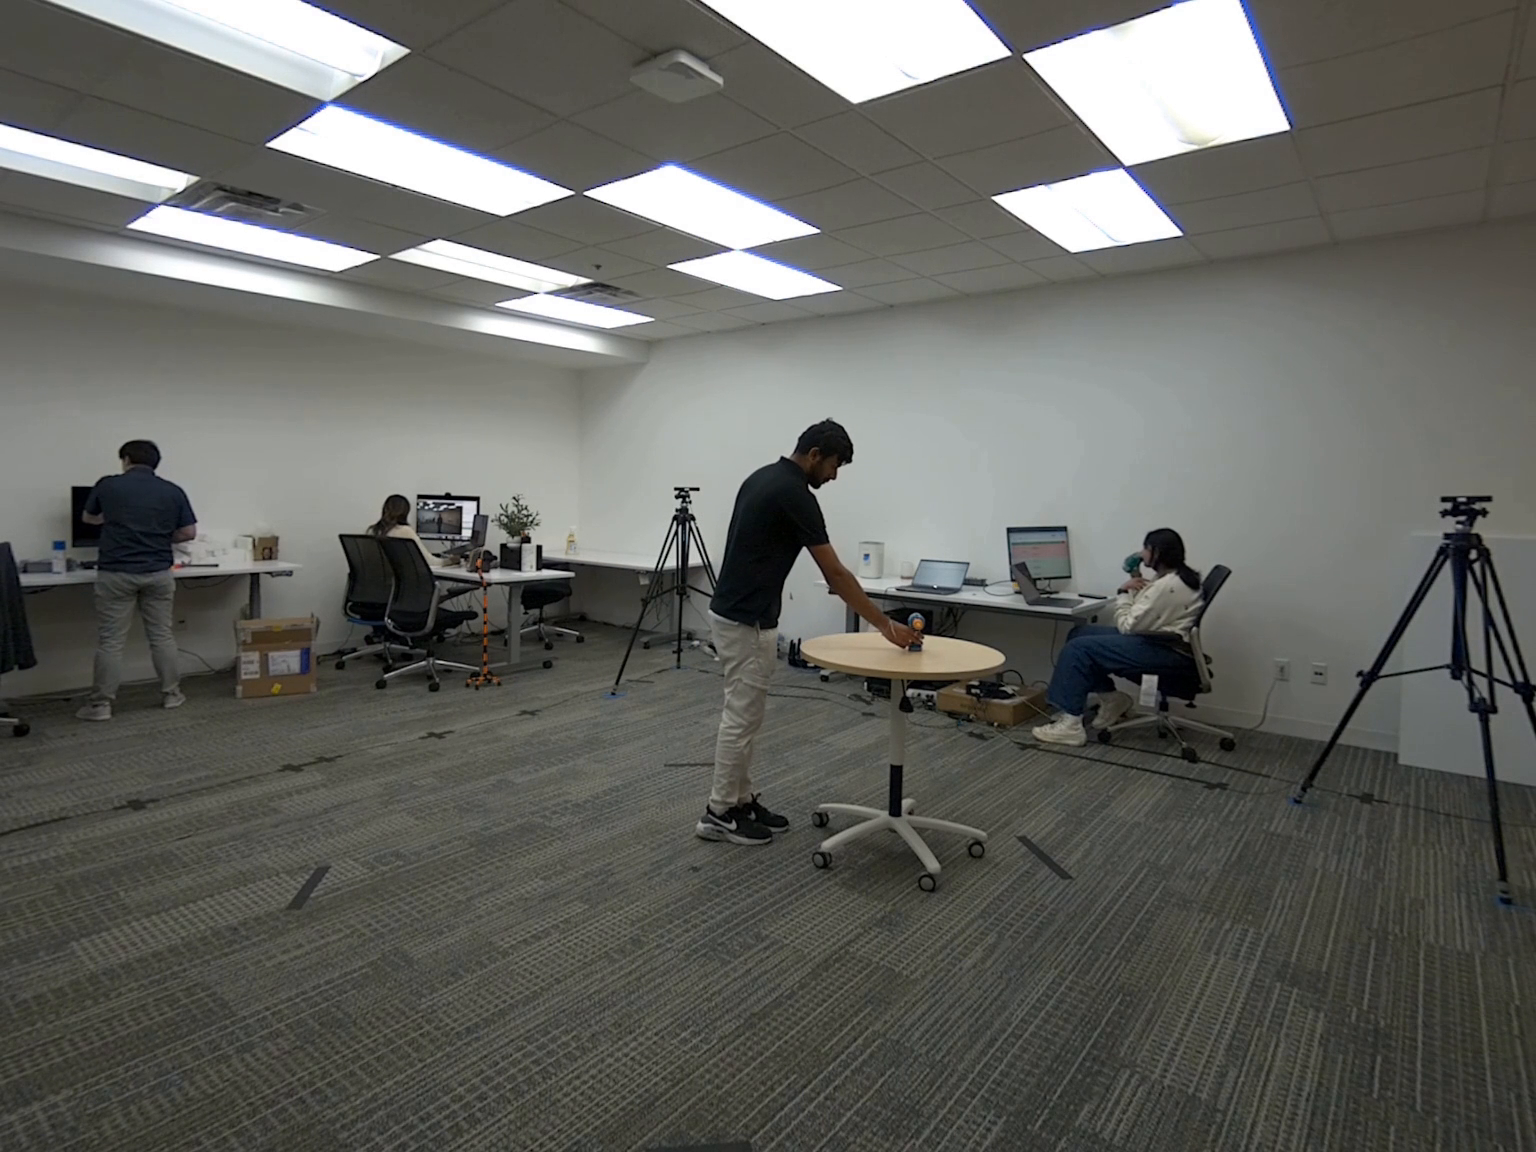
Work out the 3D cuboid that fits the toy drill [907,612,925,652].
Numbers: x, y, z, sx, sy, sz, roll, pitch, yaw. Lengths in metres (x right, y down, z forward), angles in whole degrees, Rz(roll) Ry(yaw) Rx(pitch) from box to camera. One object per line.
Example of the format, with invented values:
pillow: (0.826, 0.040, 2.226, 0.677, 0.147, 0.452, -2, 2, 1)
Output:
toy drill: (0.559, 0.214, 3.233, 0.061, 0.145, 0.170, 1, 6, 1)
